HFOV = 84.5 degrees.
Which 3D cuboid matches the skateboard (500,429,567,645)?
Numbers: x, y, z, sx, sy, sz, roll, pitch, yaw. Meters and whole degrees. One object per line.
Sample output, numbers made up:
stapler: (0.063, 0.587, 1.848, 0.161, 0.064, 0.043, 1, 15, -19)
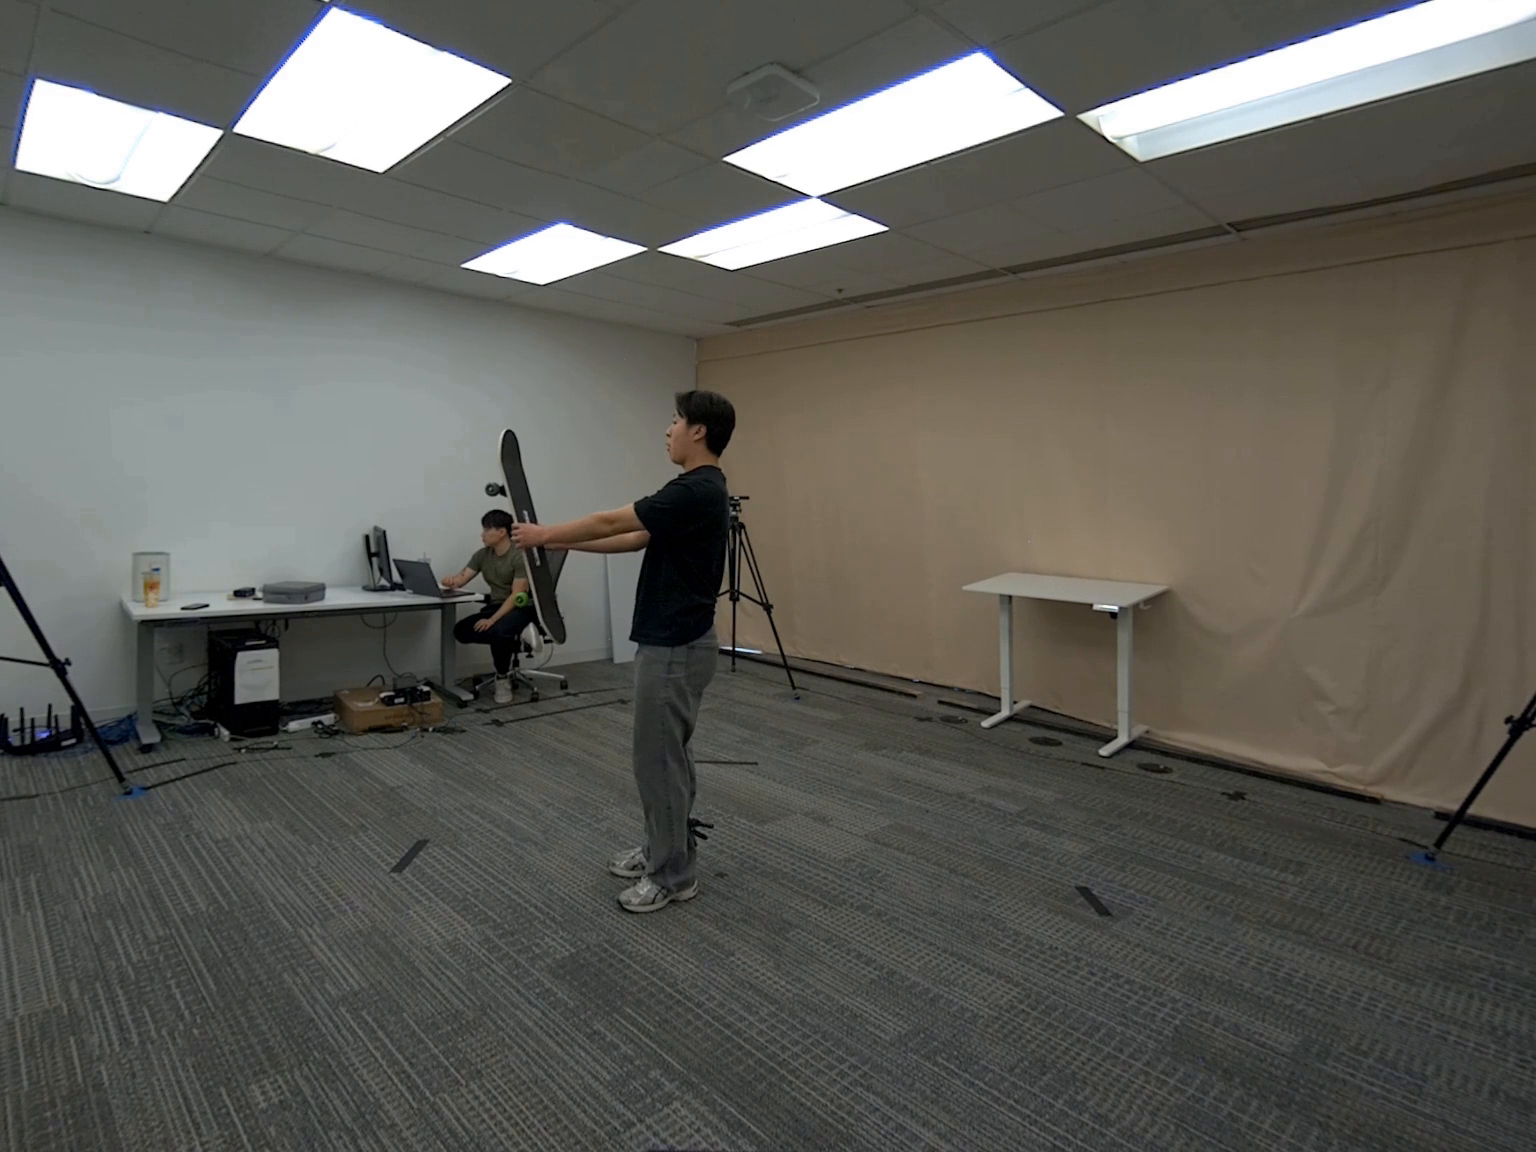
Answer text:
skateboard: (-0.877, -0.119, 3.001, 0.111, 0.782, 0.193, -13, 4, 5)
